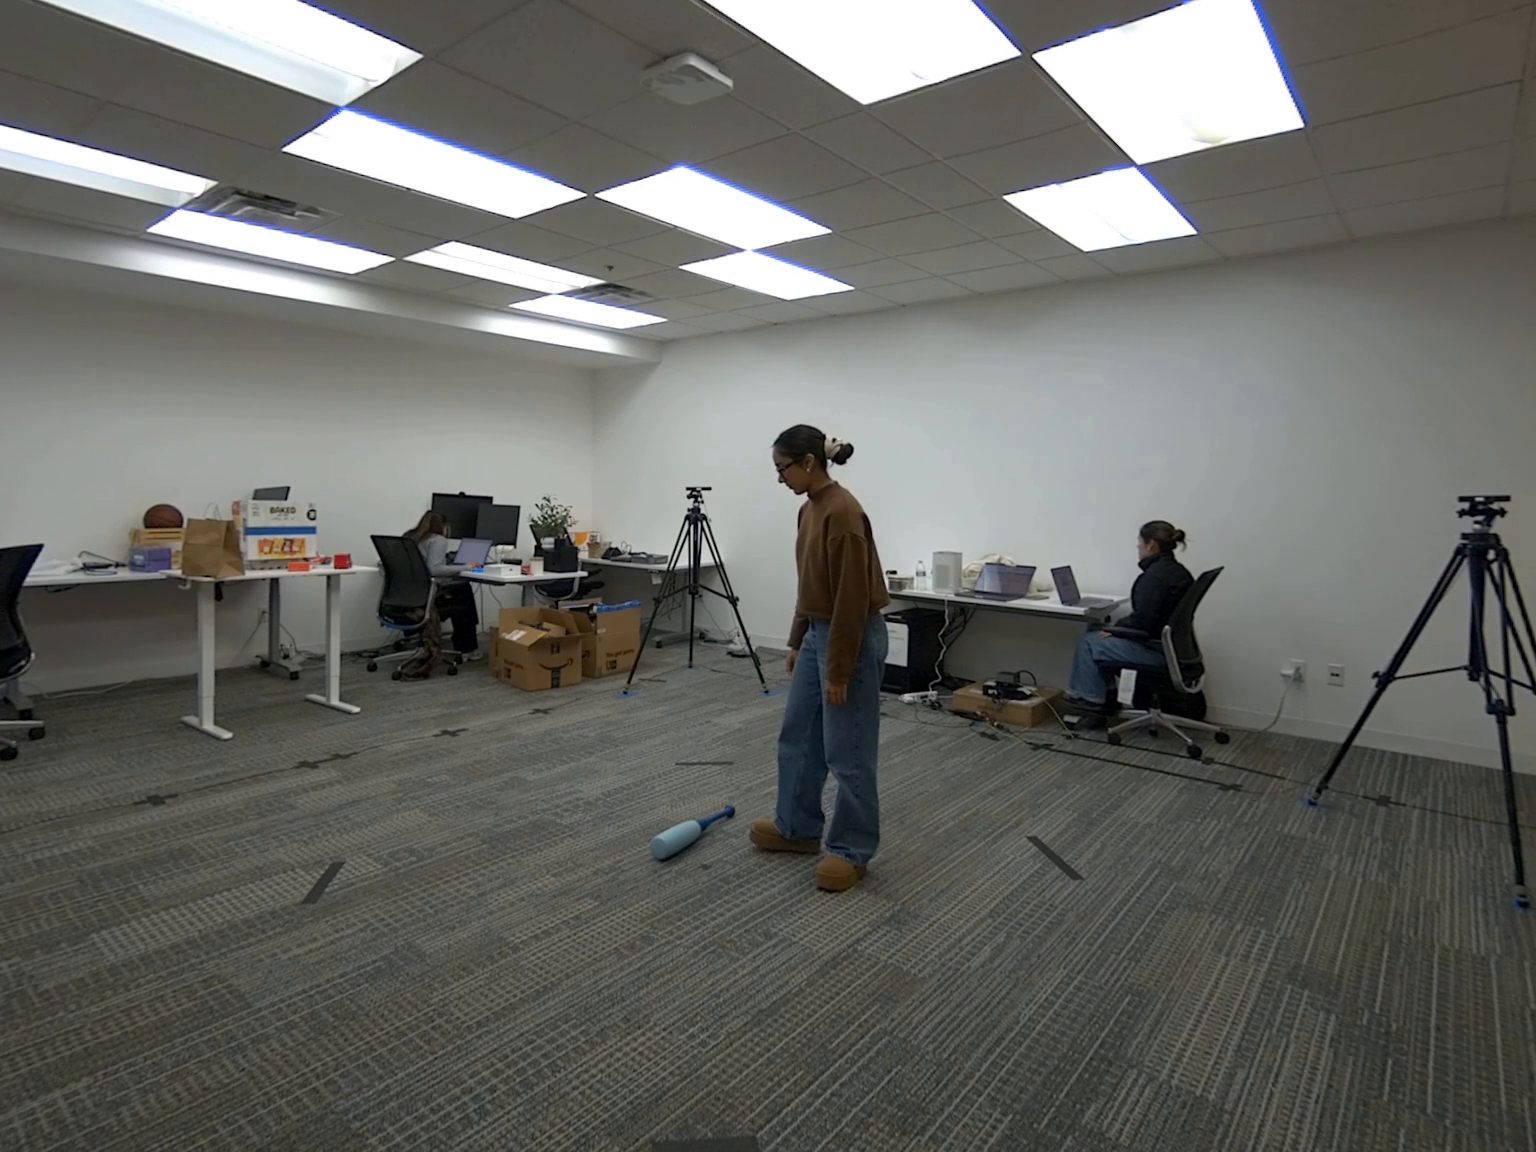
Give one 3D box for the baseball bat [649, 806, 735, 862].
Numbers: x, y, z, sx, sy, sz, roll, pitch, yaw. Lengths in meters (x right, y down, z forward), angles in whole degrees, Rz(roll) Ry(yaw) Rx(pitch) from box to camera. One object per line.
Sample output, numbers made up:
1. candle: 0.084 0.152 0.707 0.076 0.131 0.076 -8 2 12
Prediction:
1. baseball bat: -0.294 1.002 3.382 0.091 0.089 0.528 3 3 29
